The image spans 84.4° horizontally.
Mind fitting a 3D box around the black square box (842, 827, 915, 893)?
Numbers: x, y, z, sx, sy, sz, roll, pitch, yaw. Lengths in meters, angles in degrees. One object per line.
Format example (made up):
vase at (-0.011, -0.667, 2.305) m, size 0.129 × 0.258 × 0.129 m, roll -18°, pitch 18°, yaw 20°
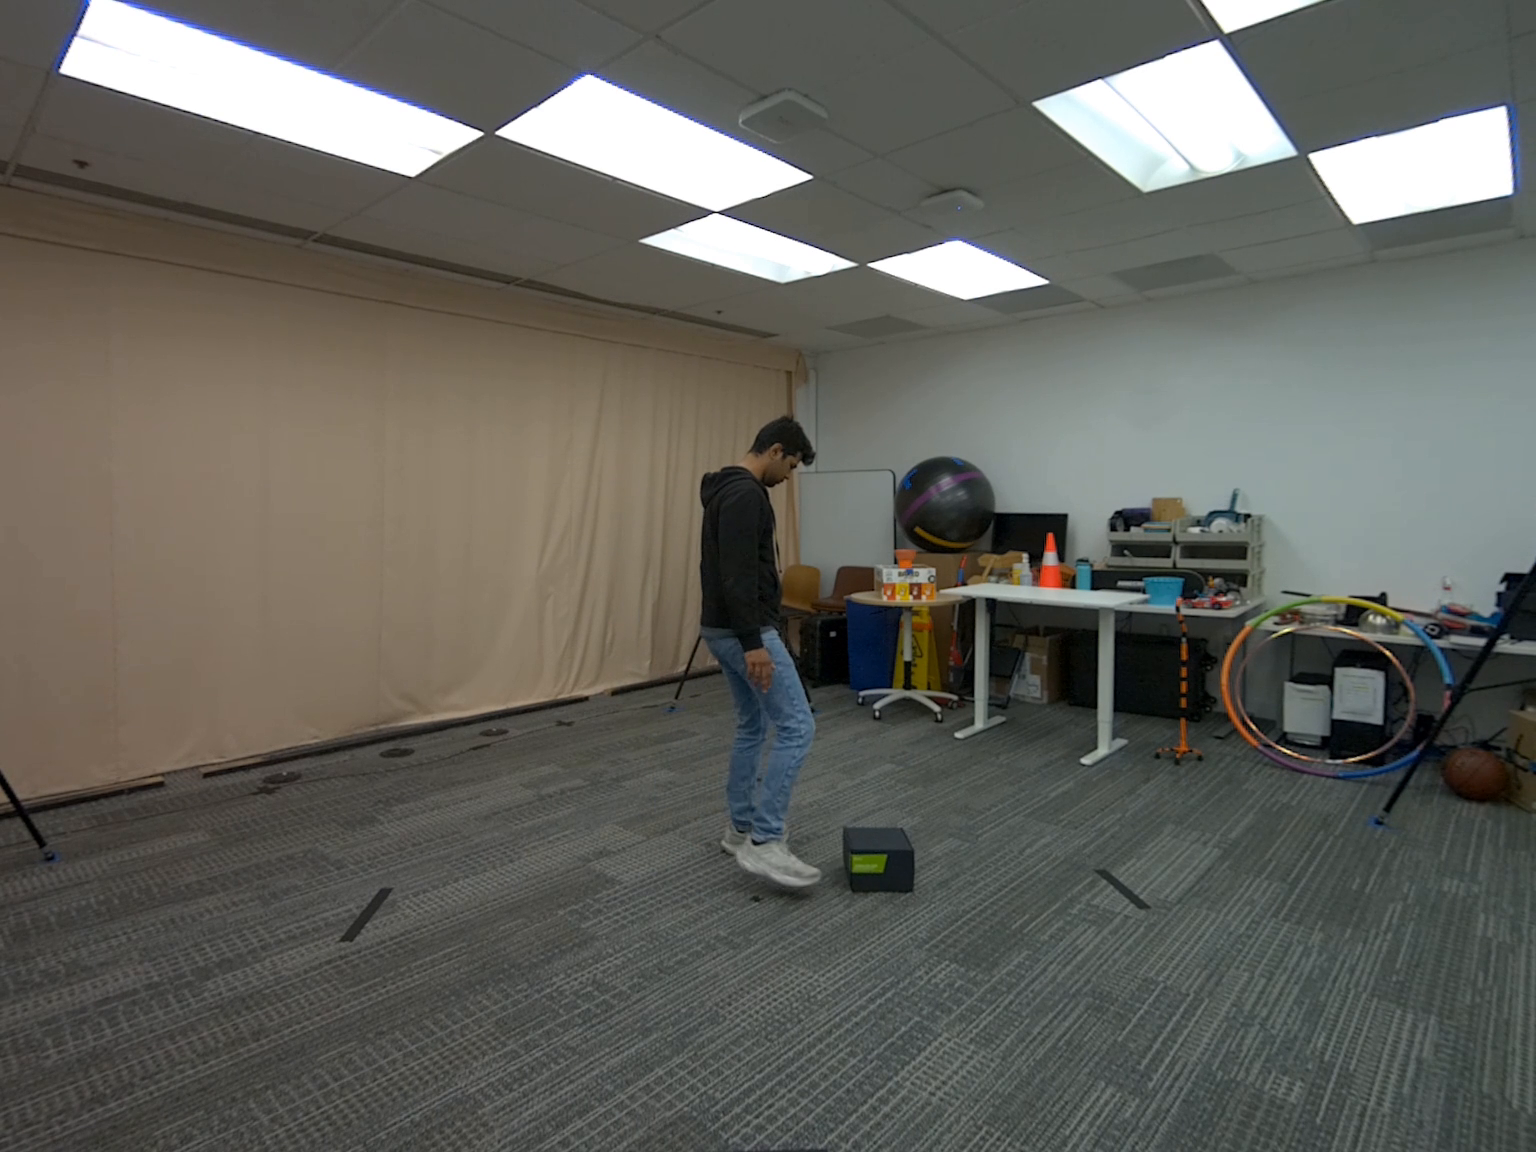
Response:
black square box at (0.405, 1.044, 3.137) m, size 0.228 × 0.155 × 0.217 m, roll 0°, pitch 5°, yaw 0°
